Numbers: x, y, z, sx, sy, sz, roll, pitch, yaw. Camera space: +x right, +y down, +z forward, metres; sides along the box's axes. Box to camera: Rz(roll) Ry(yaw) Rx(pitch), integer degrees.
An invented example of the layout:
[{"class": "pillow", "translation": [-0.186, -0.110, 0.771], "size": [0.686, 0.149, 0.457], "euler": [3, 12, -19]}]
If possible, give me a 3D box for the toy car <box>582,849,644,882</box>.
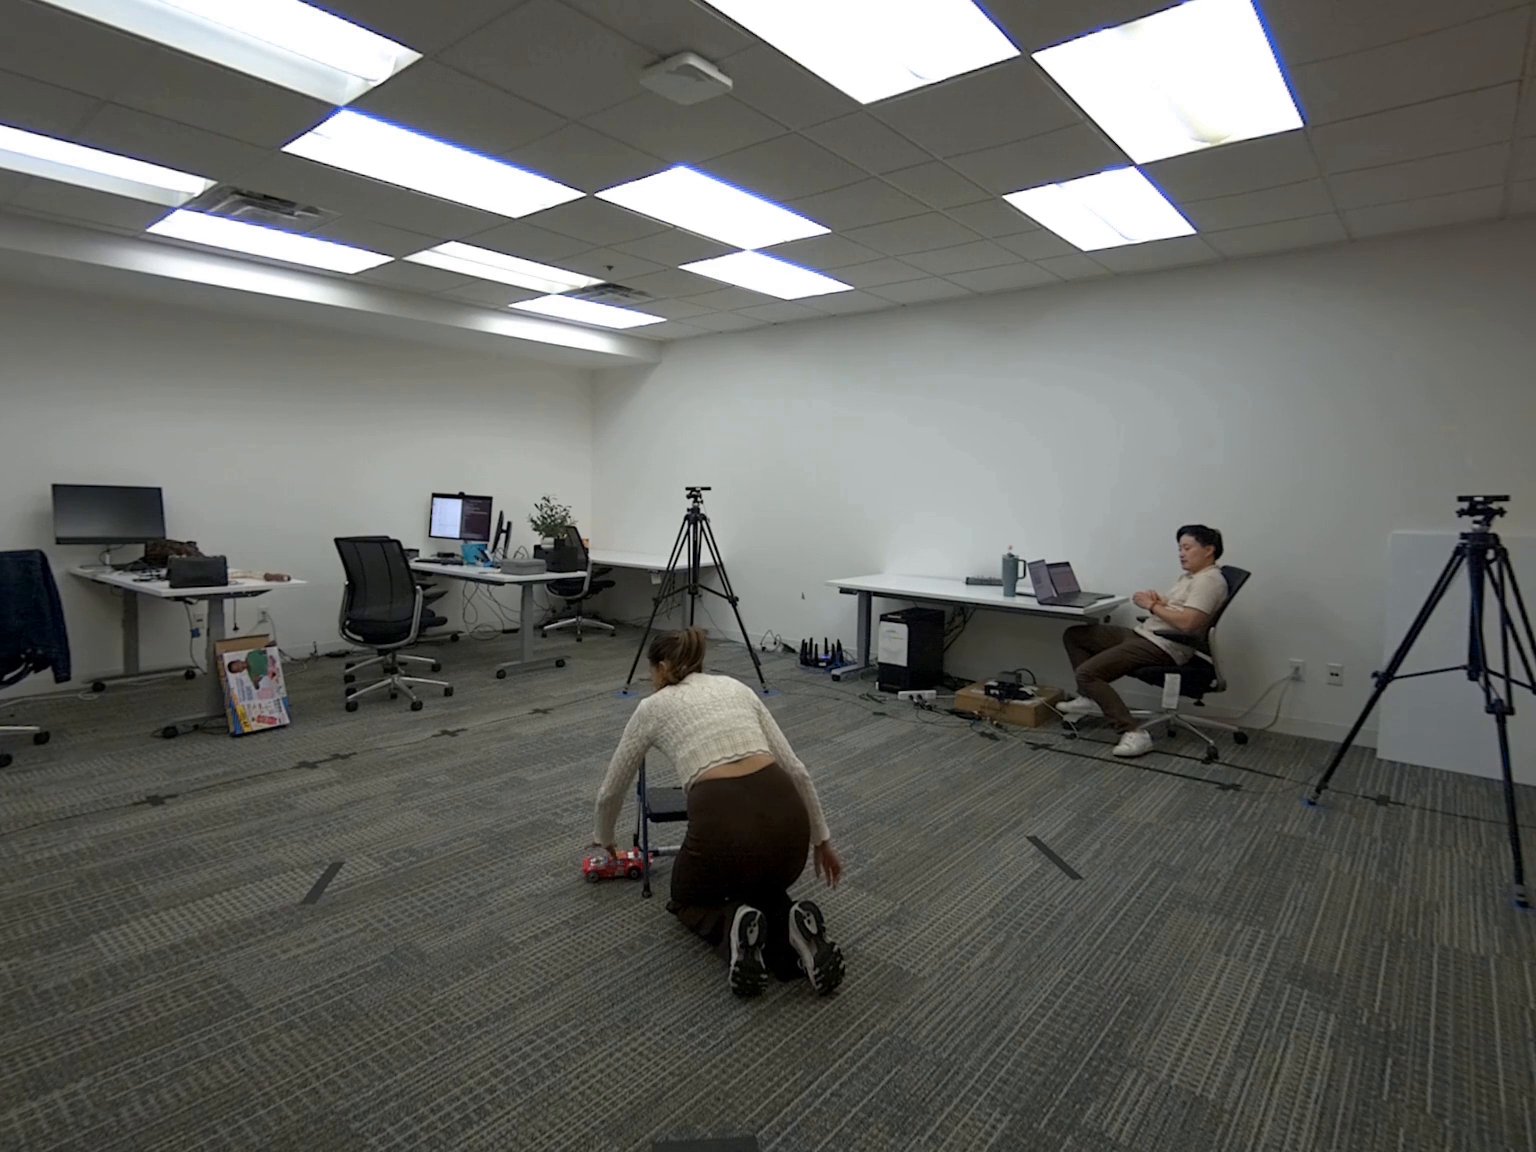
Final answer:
[{"class": "toy car", "translation": [-0.544, 1.045, 3.050], "size": [0.253, 0.082, 0.132], "euler": [-14, 9, -6]}]
